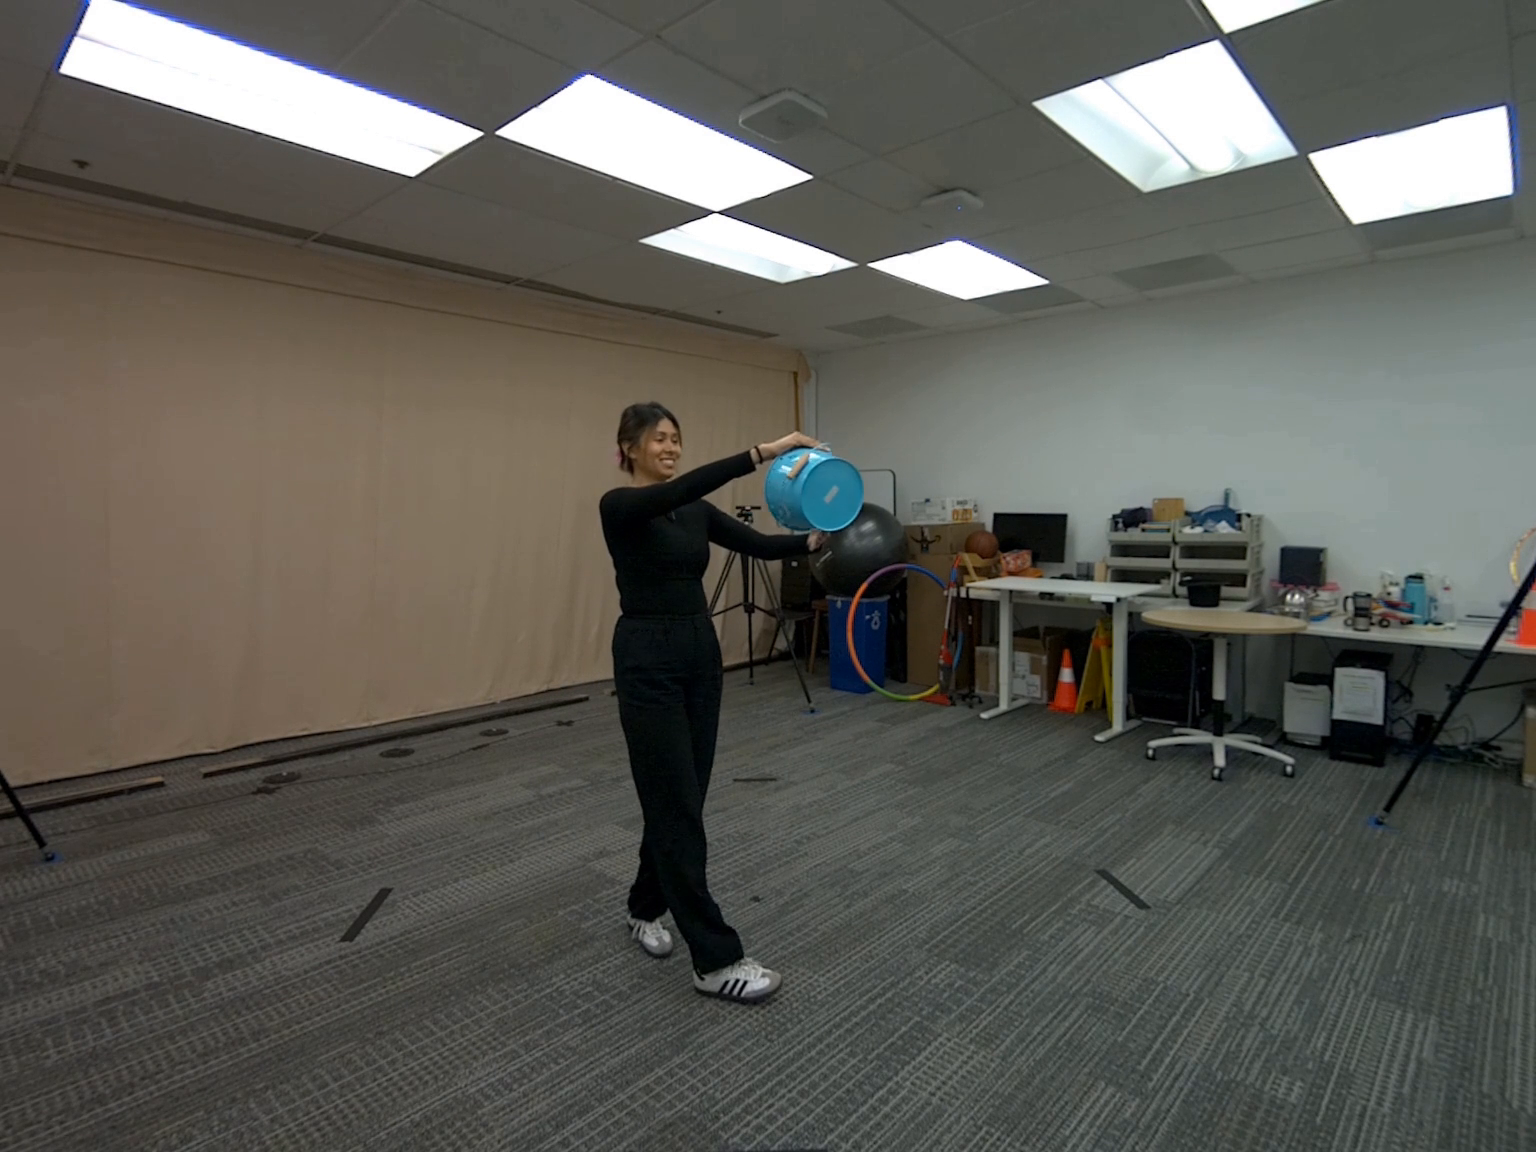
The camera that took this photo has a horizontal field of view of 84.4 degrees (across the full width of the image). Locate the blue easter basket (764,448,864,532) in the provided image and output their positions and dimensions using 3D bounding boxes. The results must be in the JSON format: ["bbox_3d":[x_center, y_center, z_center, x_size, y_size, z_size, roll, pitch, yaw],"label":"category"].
[{"bbox_3d":[0.121,-0.220,2.161,0.238,0.242,0.160,-2,11,-24],"label":"blue easter basket"}]
